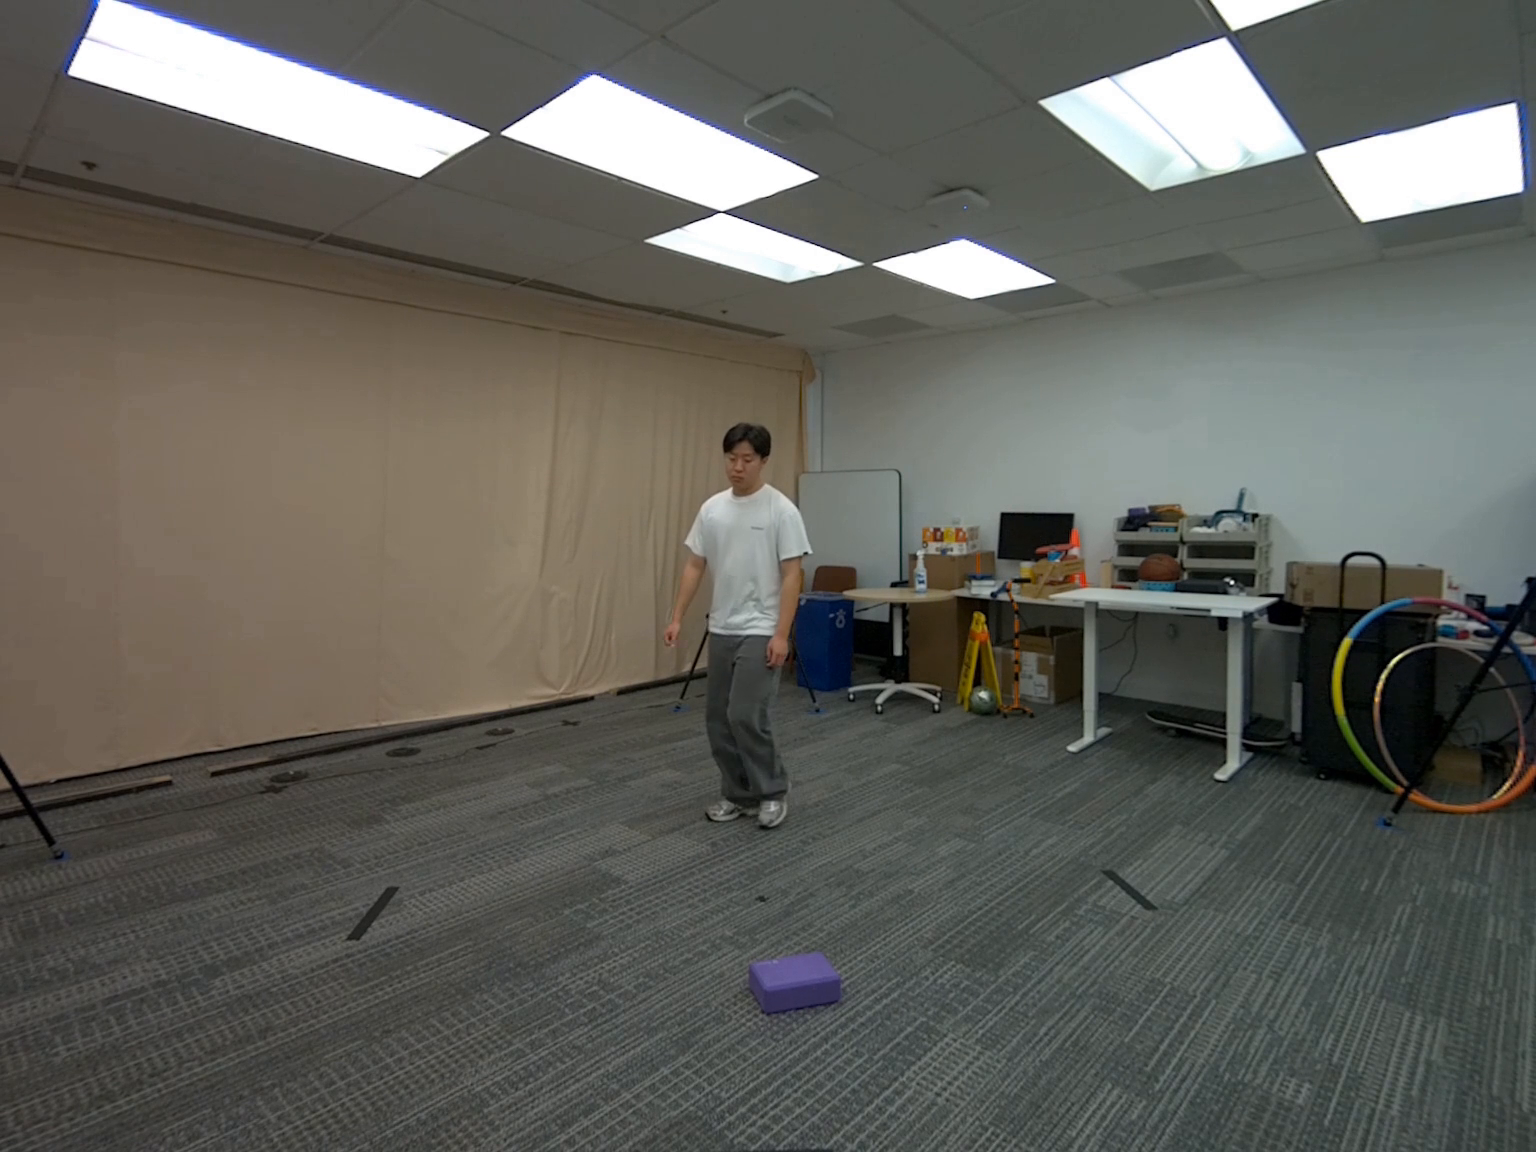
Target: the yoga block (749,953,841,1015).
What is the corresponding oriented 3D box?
[{"bbox_3d":[0.083,1.152,2.393,0.226,0.076,0.152,-1,4,-16],"label":"yoga block"}]
